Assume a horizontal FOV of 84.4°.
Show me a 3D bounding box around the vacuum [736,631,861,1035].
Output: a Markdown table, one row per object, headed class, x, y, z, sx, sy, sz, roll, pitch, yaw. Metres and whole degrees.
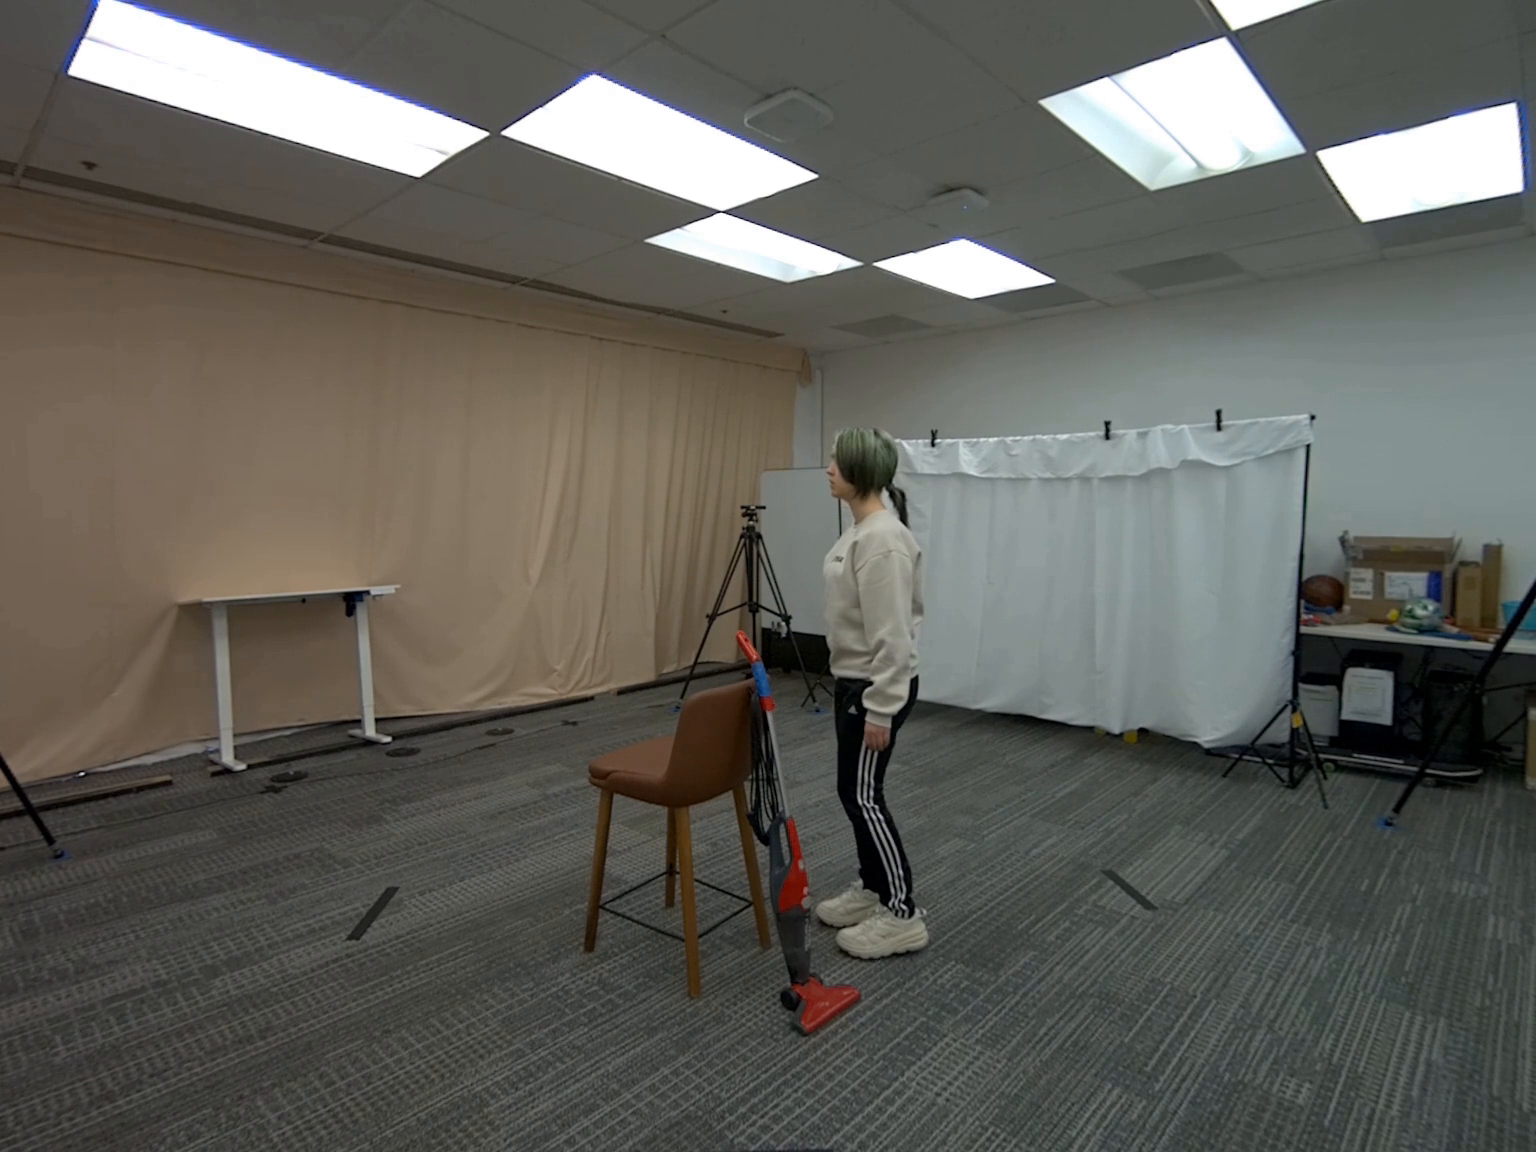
| class | x | y | z | sx | sy | sz | roll | pitch | yaw |
| --- | --- | --- | --- | --- | --- | --- | --- | --- | --- |
| vacuum | 0.033 | 0.698 | 2.391 | 0.147 | 1.054 | 0.245 | -18 | -7 | 42 |
